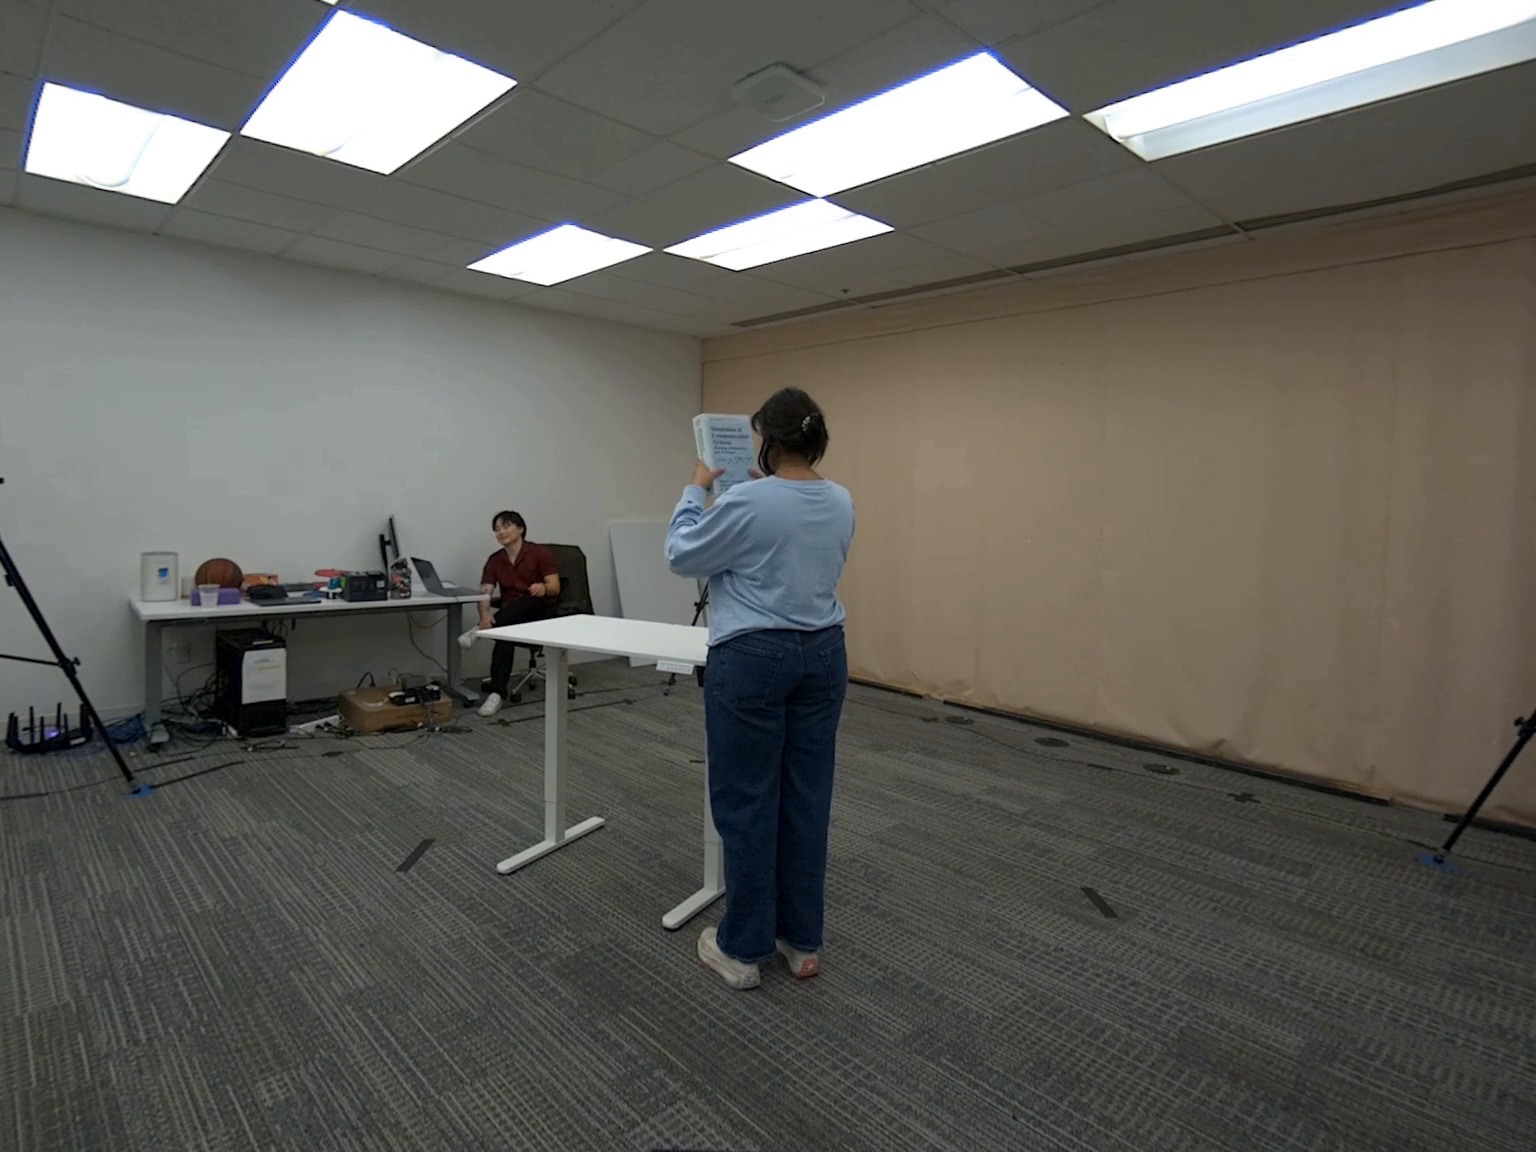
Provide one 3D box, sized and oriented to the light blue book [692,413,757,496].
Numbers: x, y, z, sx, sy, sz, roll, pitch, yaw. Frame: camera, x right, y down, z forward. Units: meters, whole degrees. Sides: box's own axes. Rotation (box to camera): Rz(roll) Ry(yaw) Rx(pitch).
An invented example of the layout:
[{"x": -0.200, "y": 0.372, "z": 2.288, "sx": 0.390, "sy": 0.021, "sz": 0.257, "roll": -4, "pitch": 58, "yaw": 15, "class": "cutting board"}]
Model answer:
[{"x": -0.135, "y": -0.382, "z": 2.687, "sx": 0.187, "sy": 0.262, "sz": 0.060, "roll": -4, "pitch": -9, "yaw": -37, "class": "light blue book"}]
